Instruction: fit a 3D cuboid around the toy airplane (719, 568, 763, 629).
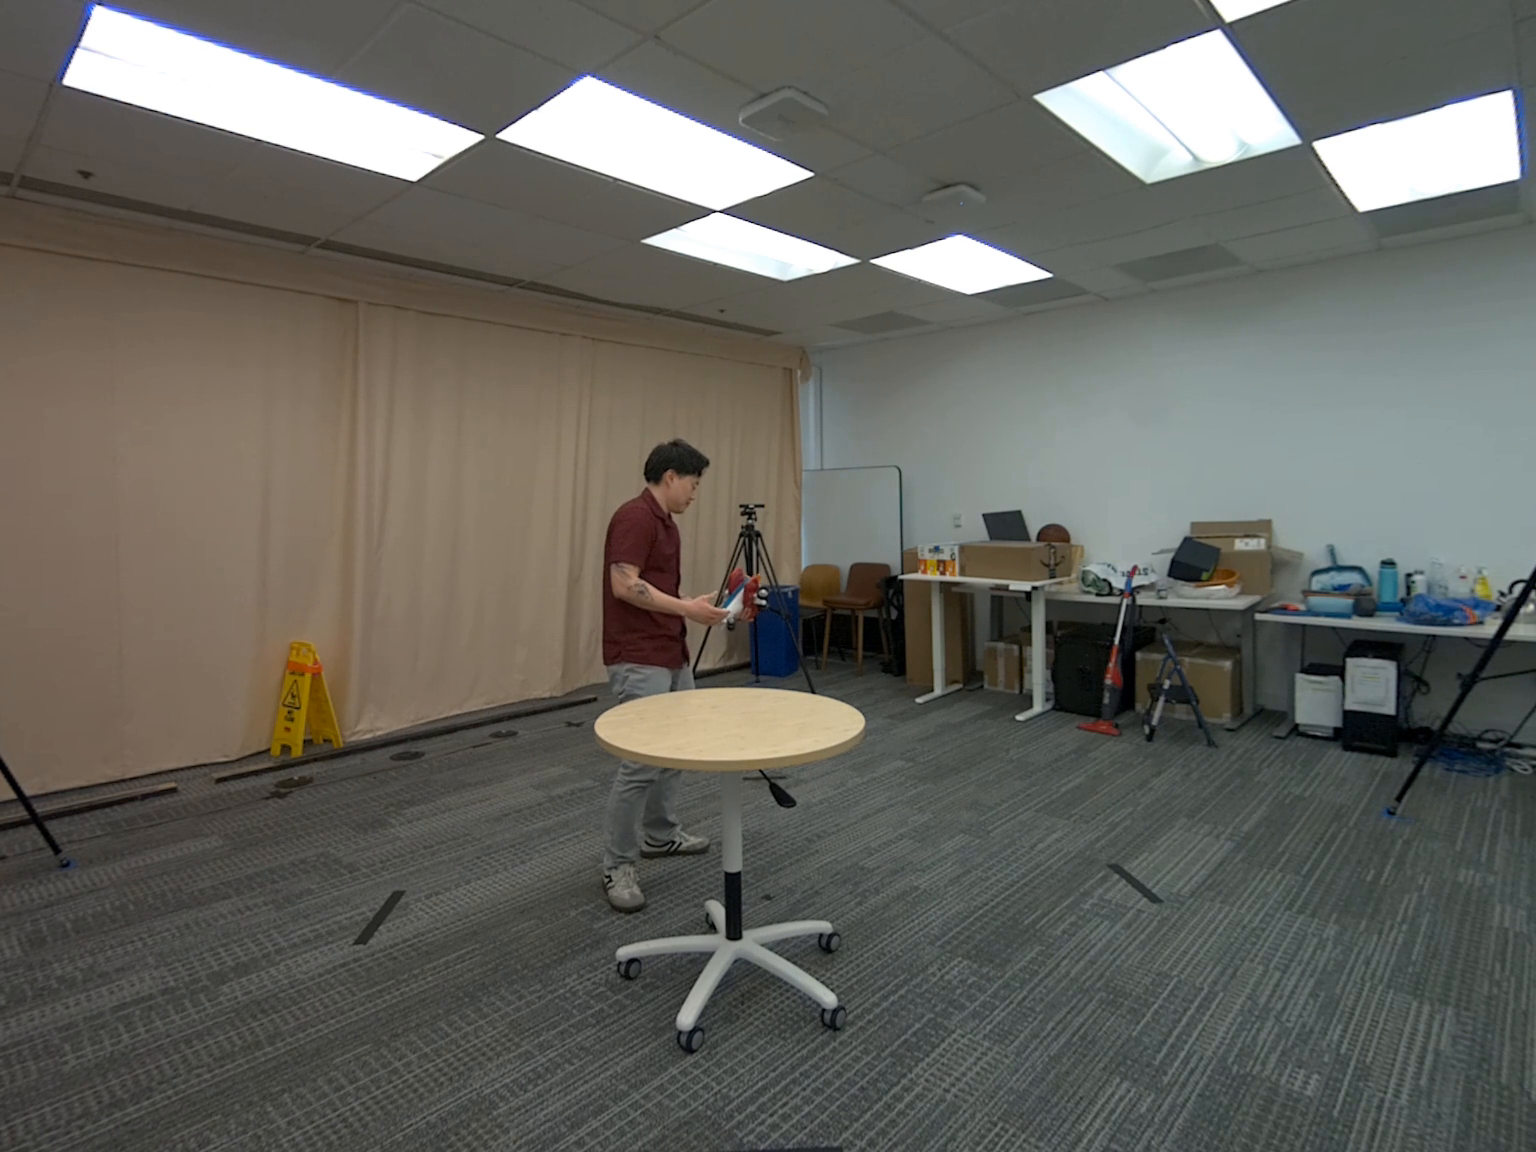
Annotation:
[{"bbox_3d":[-0.108,0.088,3.396,0.252,0.250,0.161,-12,45,-45],"label":"toy airplane"}]
